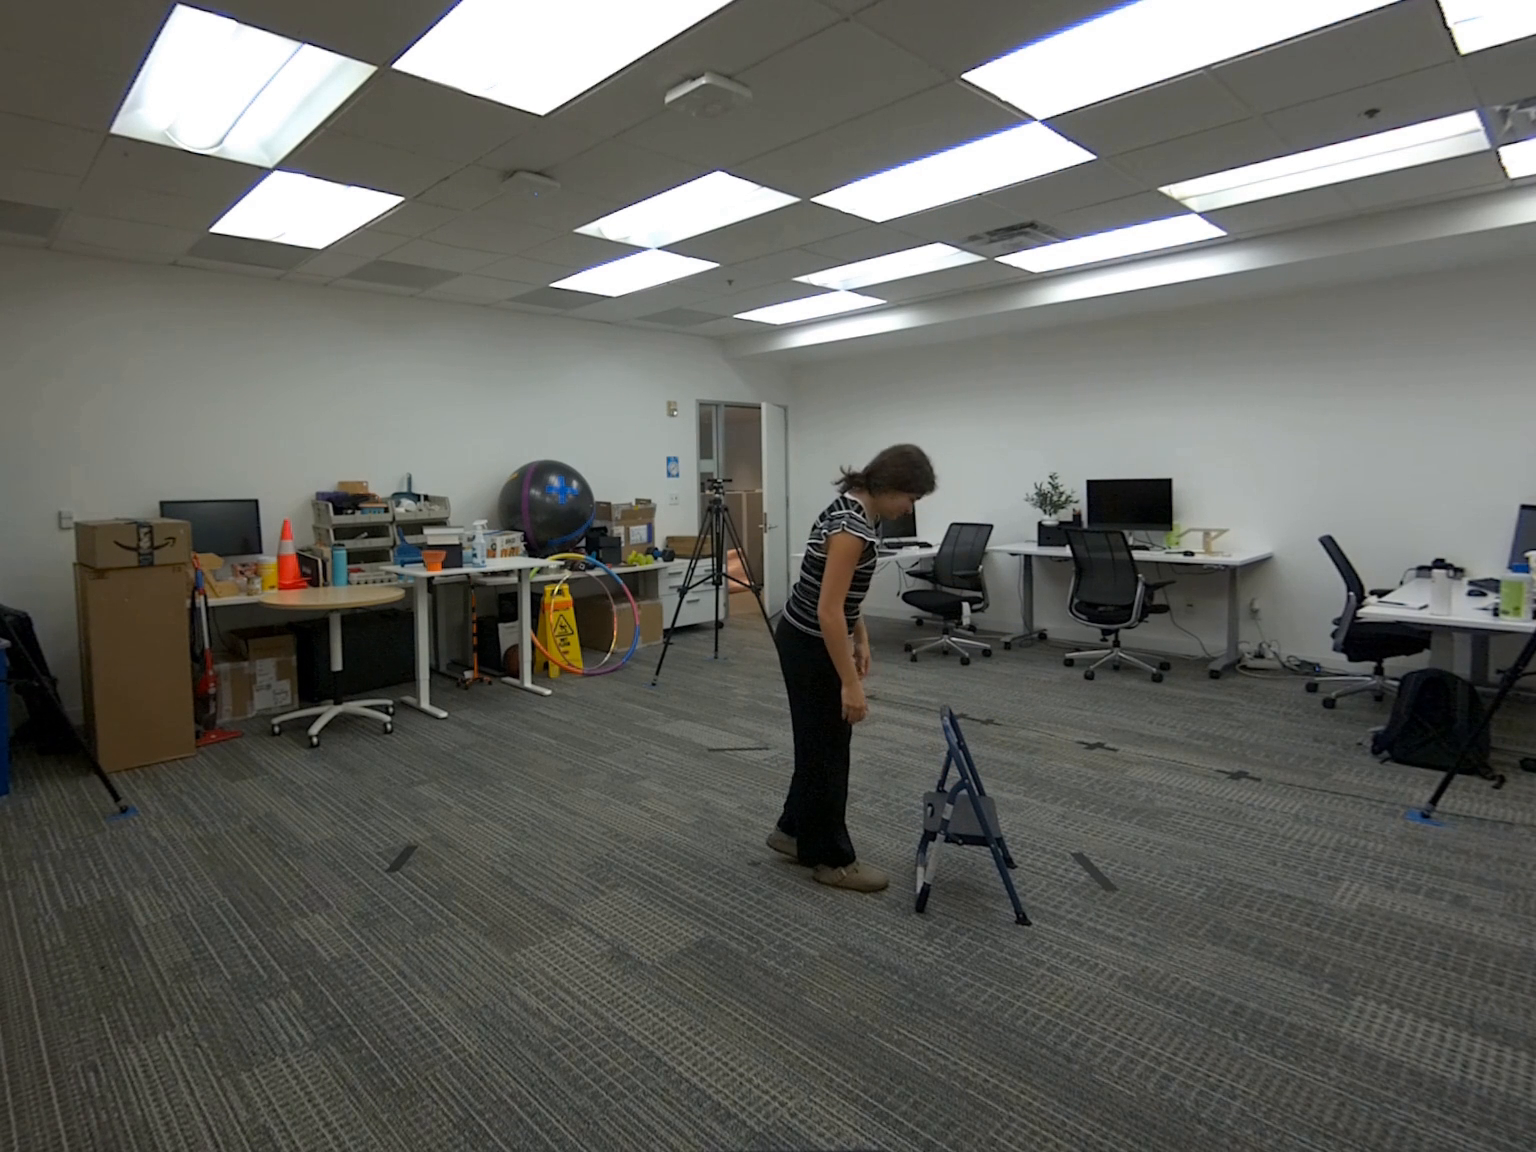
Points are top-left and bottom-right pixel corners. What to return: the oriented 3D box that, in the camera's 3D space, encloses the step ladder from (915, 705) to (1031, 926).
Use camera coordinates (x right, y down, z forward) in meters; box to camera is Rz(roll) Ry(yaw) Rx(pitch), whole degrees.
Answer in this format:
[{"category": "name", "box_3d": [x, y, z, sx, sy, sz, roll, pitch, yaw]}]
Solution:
[{"category": "step ladder", "box_3d": [0.678, 0.757, 2.864, 0.353, 0.604, 0.427, 0, 4, 11]}]
